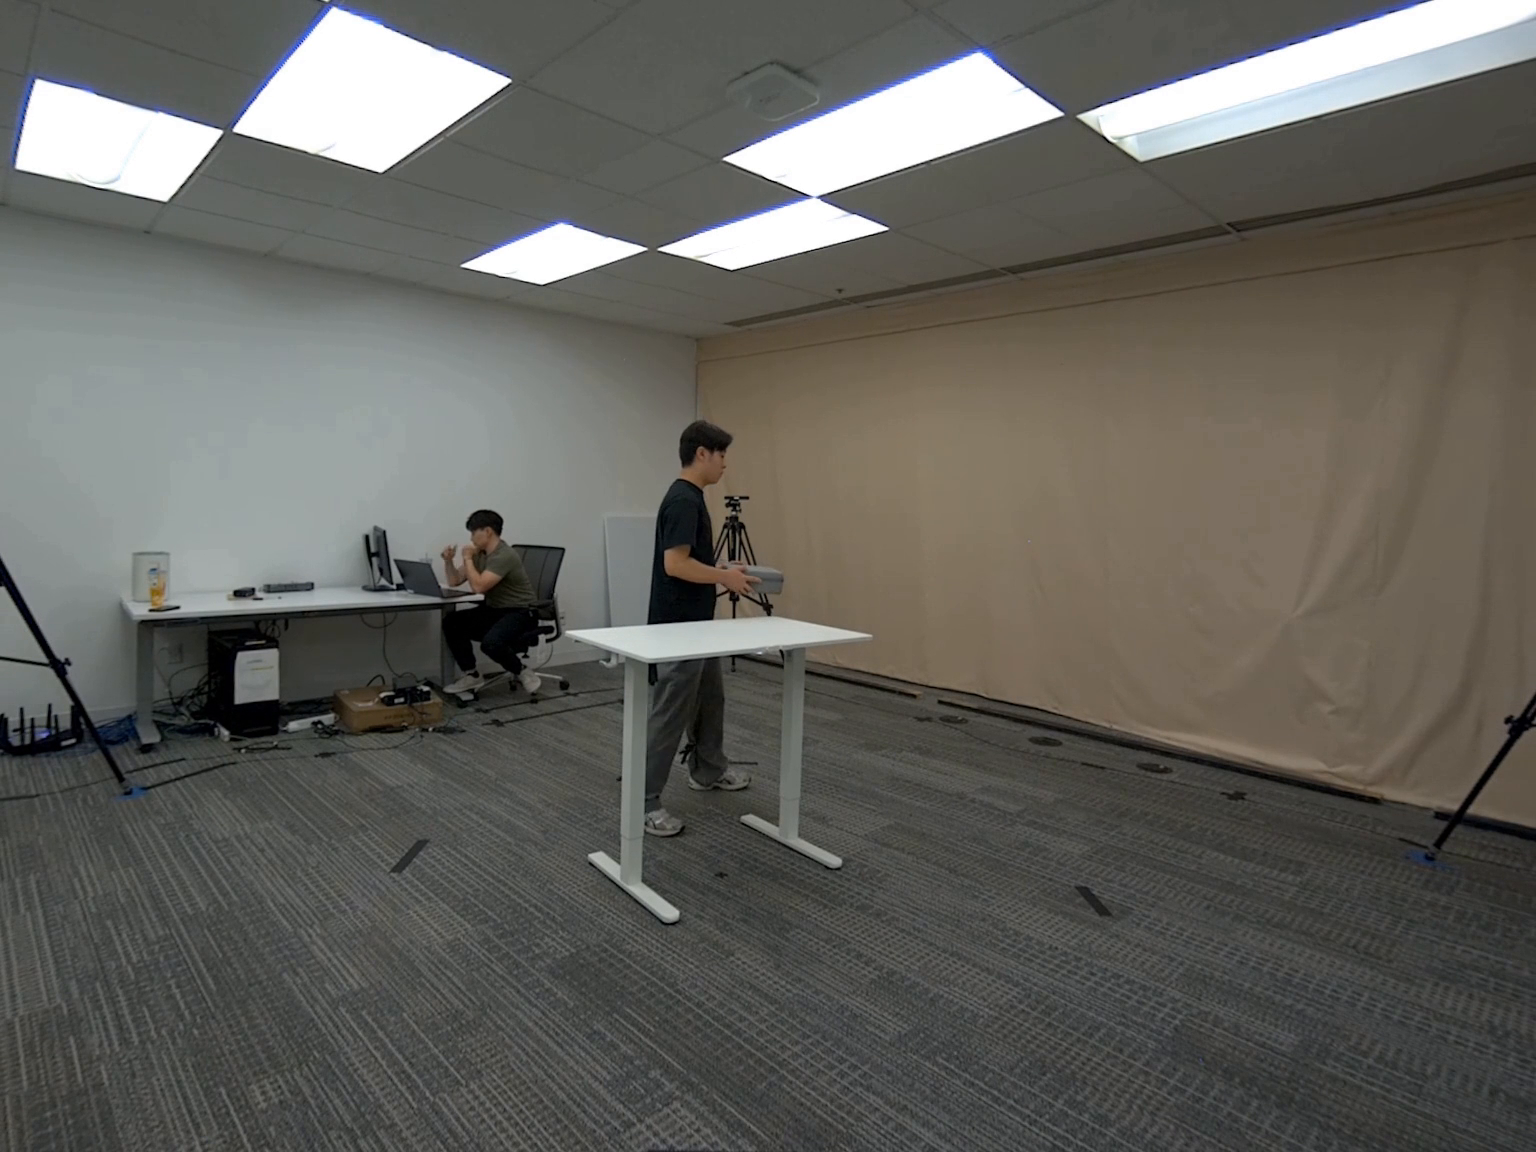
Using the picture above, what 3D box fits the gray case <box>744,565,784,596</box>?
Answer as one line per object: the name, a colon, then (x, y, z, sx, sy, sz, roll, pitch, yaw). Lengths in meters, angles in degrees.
gray case: (-0.090, 0.008, 3.776, 0.285, 0.103, 0.265, 4, 4, -8)
